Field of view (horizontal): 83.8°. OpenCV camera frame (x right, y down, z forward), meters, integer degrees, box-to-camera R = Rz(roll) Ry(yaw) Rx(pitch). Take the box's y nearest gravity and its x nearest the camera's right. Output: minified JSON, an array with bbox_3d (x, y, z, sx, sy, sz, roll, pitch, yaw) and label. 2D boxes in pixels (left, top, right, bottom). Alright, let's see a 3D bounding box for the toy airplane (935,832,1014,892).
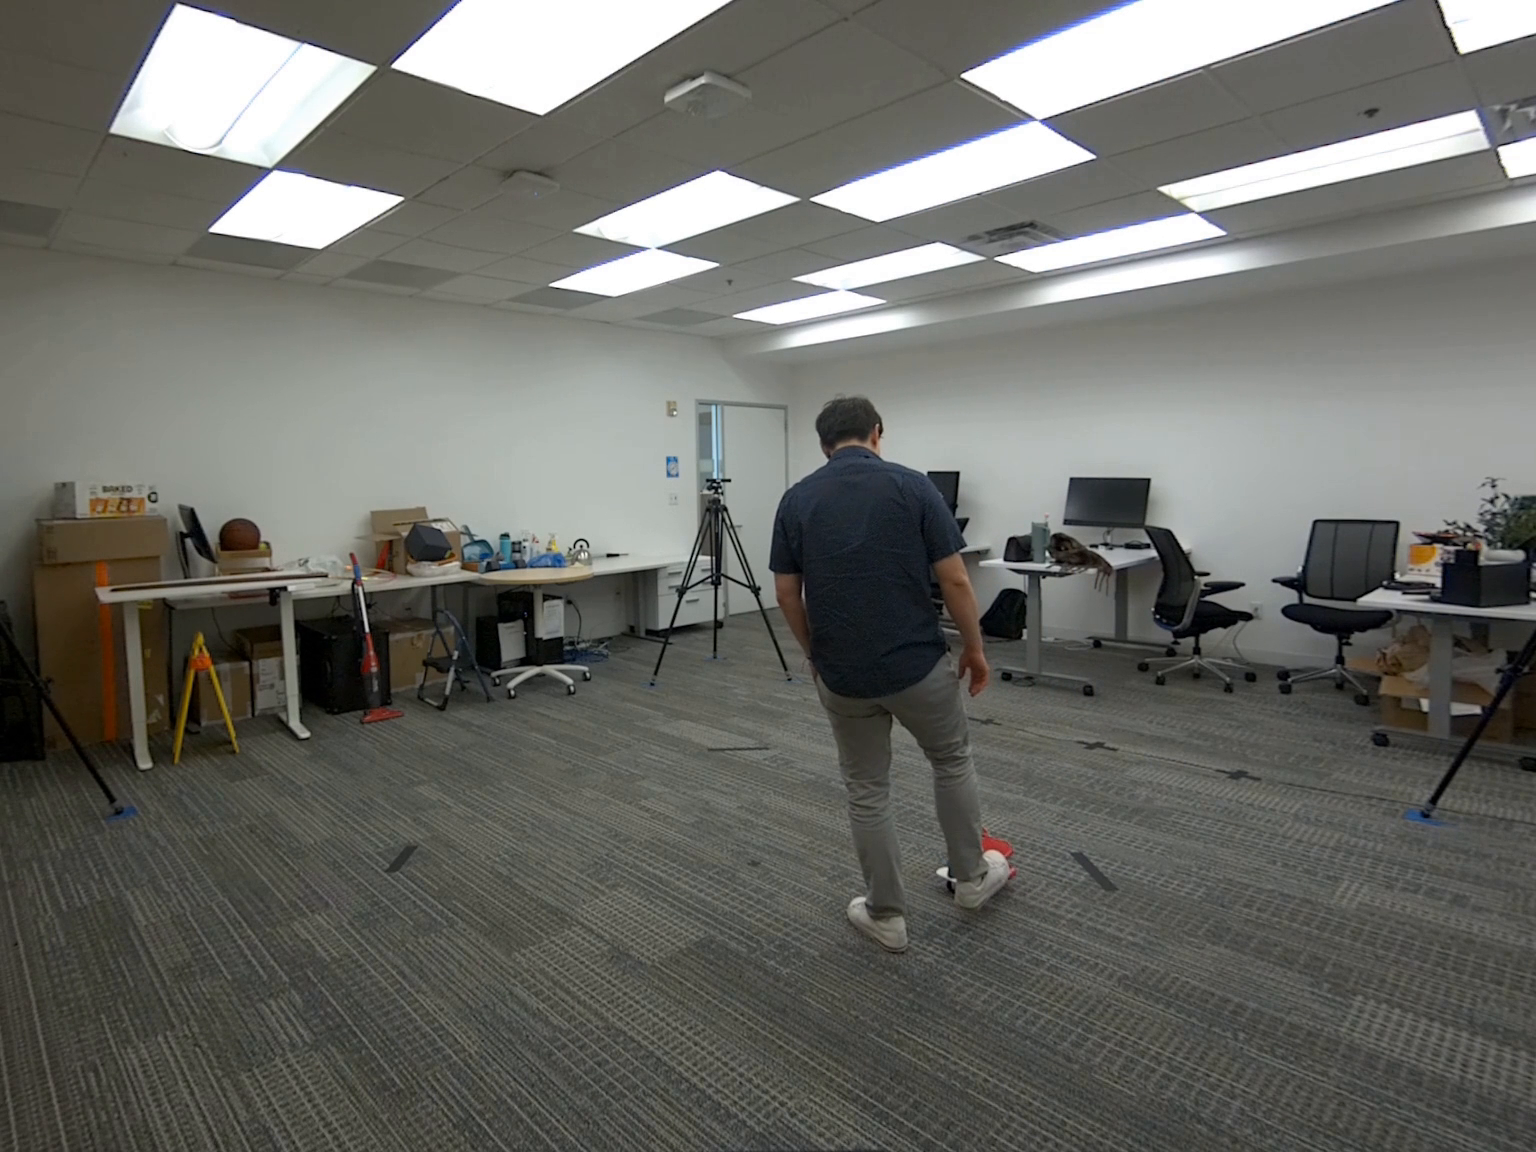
[{"bbox_3d":[0.721,0.980,2.904,0.256,0.156,0.255,2,6,23],"label":"toy airplane"}]
